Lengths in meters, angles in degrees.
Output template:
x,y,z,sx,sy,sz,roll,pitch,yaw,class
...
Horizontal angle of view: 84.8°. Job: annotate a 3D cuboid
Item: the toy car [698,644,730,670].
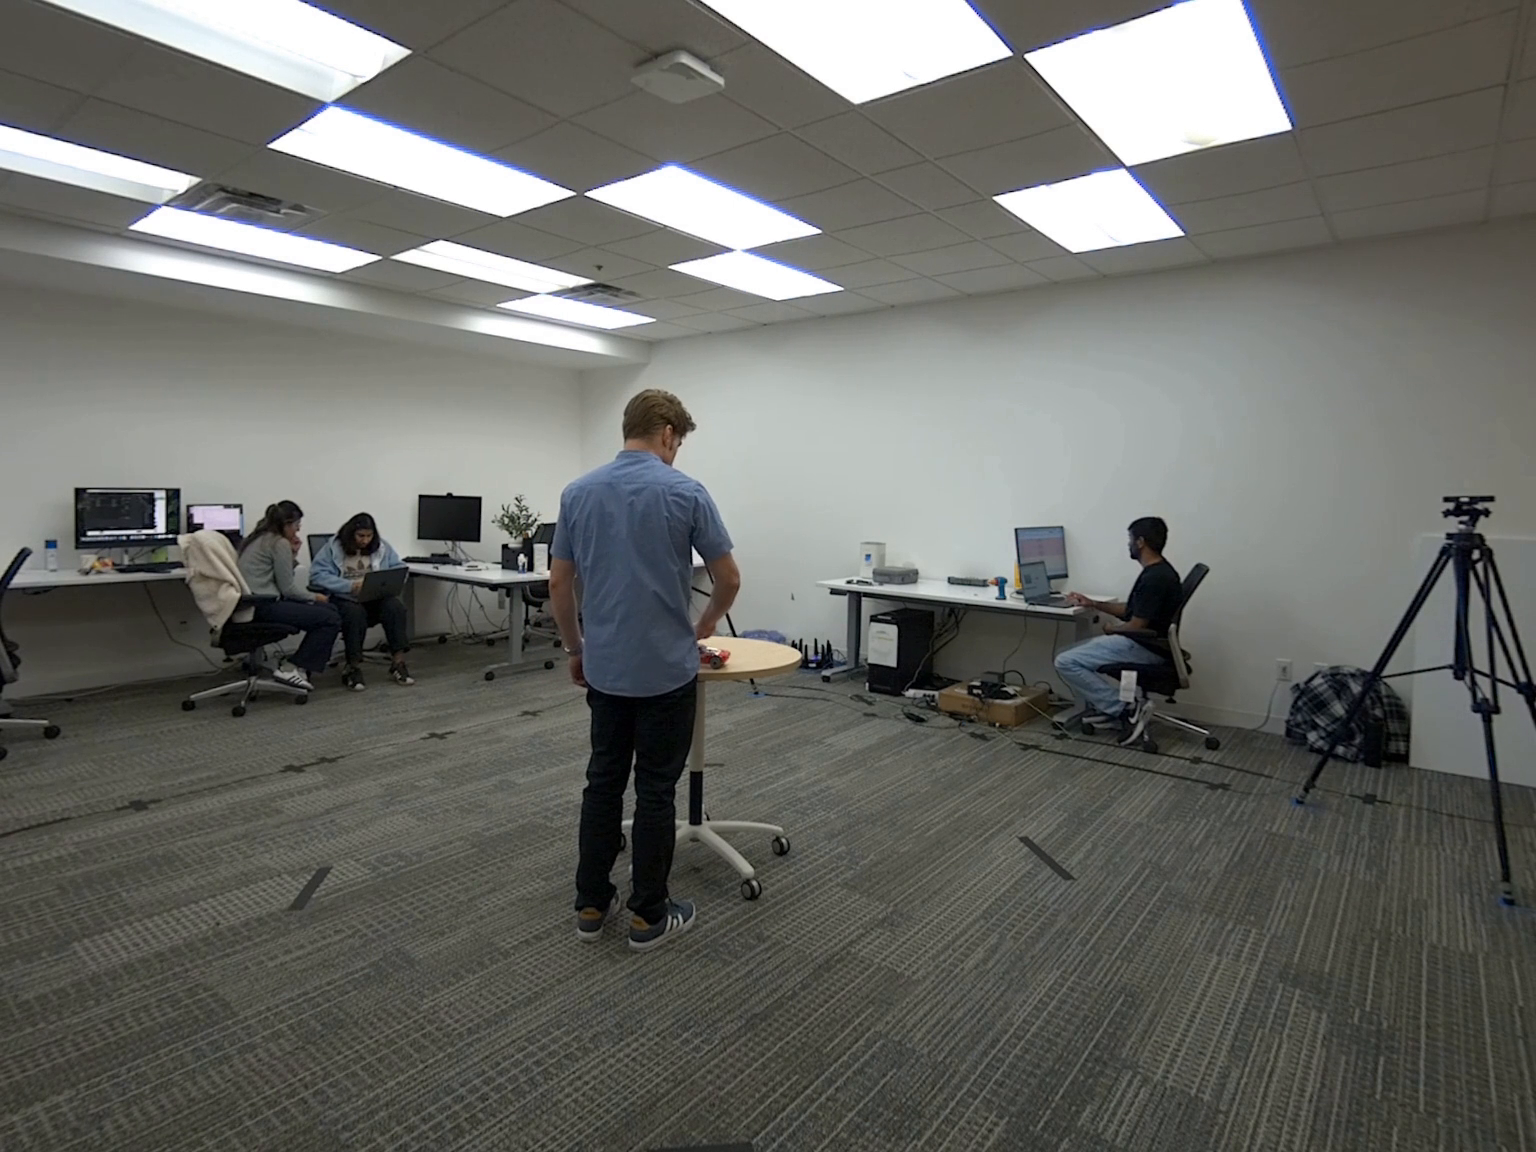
x,y,z,sx,sy,sz,roll,pitch,yaw,class
-0.267,0.273,2.908,0.258,0.083,0.129,12,7,12,toy car
